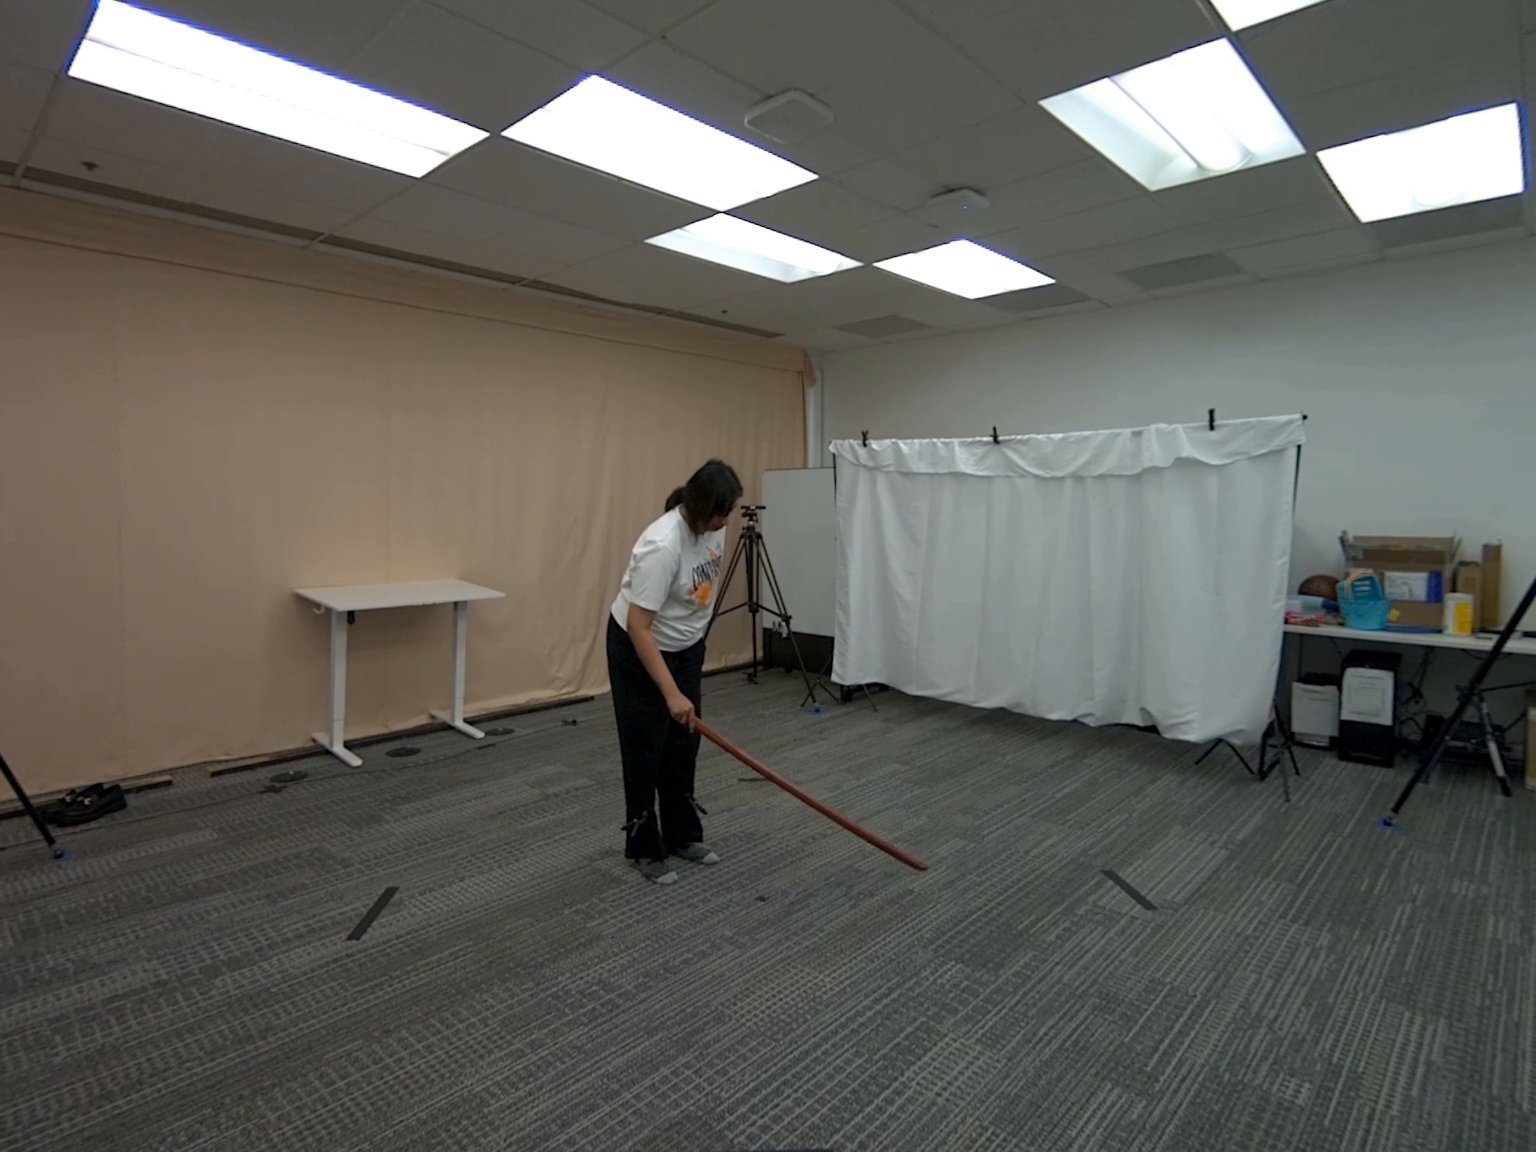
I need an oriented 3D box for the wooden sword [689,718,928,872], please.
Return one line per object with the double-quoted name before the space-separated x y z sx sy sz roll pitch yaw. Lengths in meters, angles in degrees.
"wooden sword" 0.103 0.723 2.878 1.036 0.051 0.024 31 32 9
